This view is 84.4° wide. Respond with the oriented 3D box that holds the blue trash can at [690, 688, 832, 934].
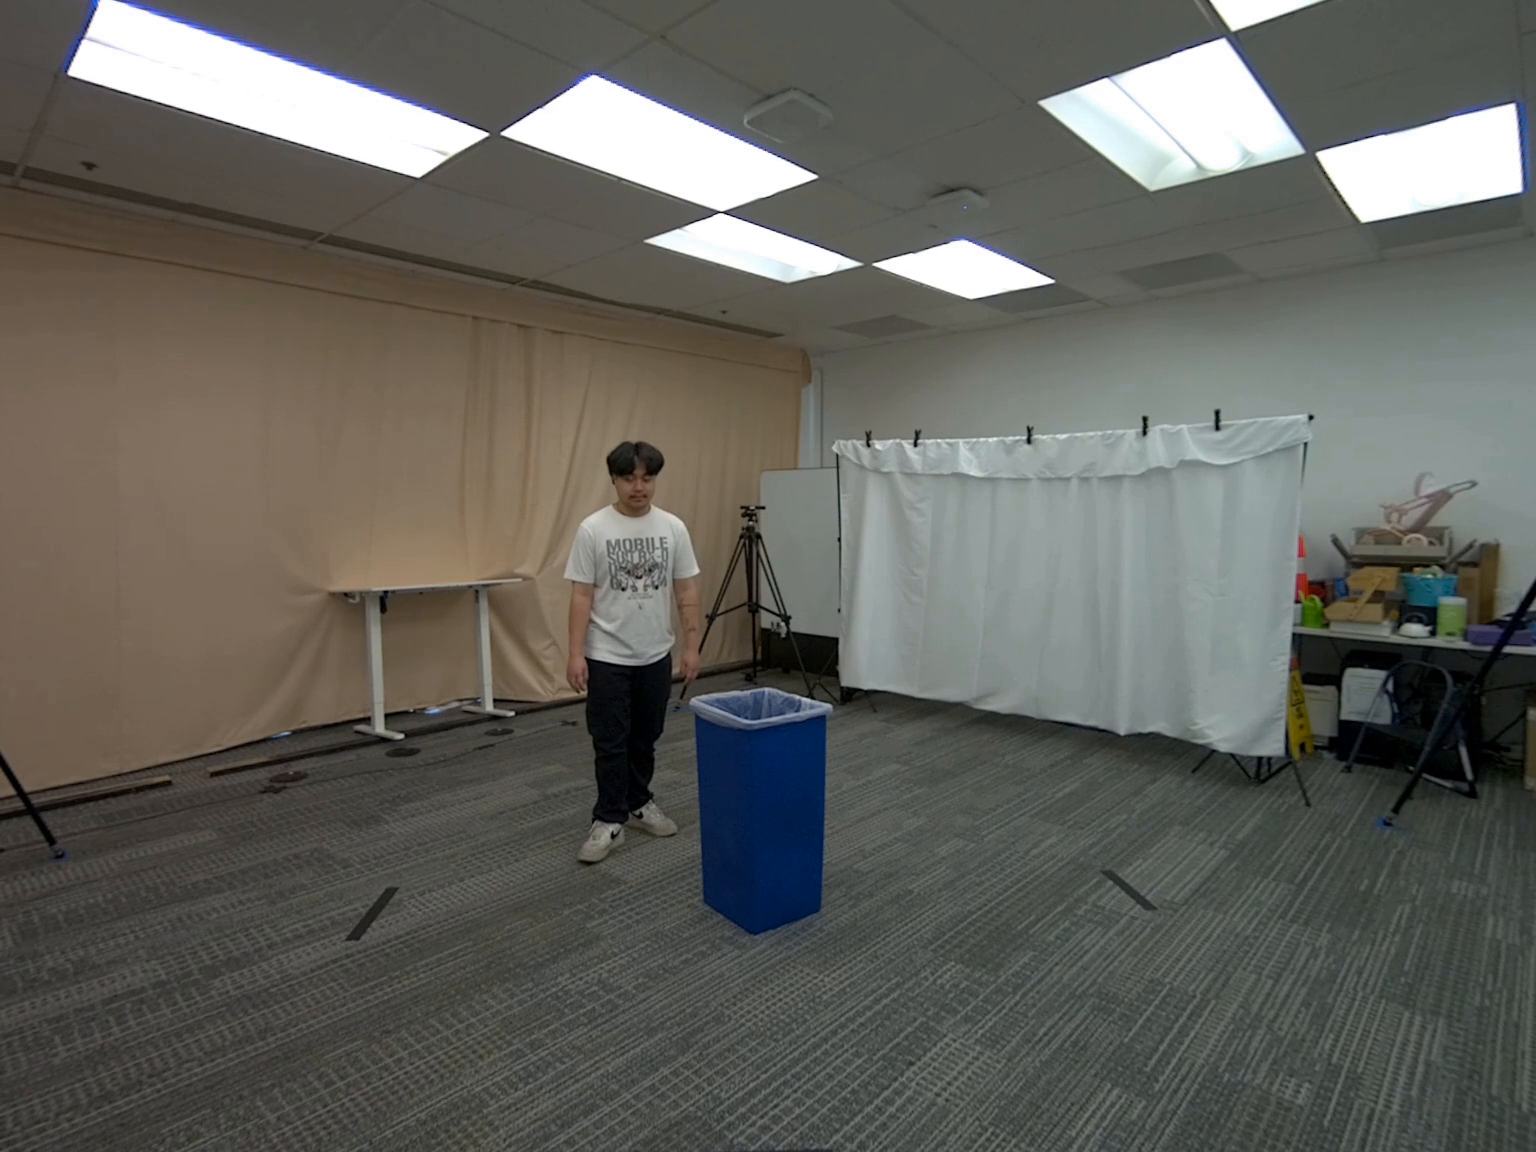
[{"bbox_3d":[-0.025,0.793,2.906,0.363,0.712,0.390,-2,4,-38],"label":"blue trash can"}]
